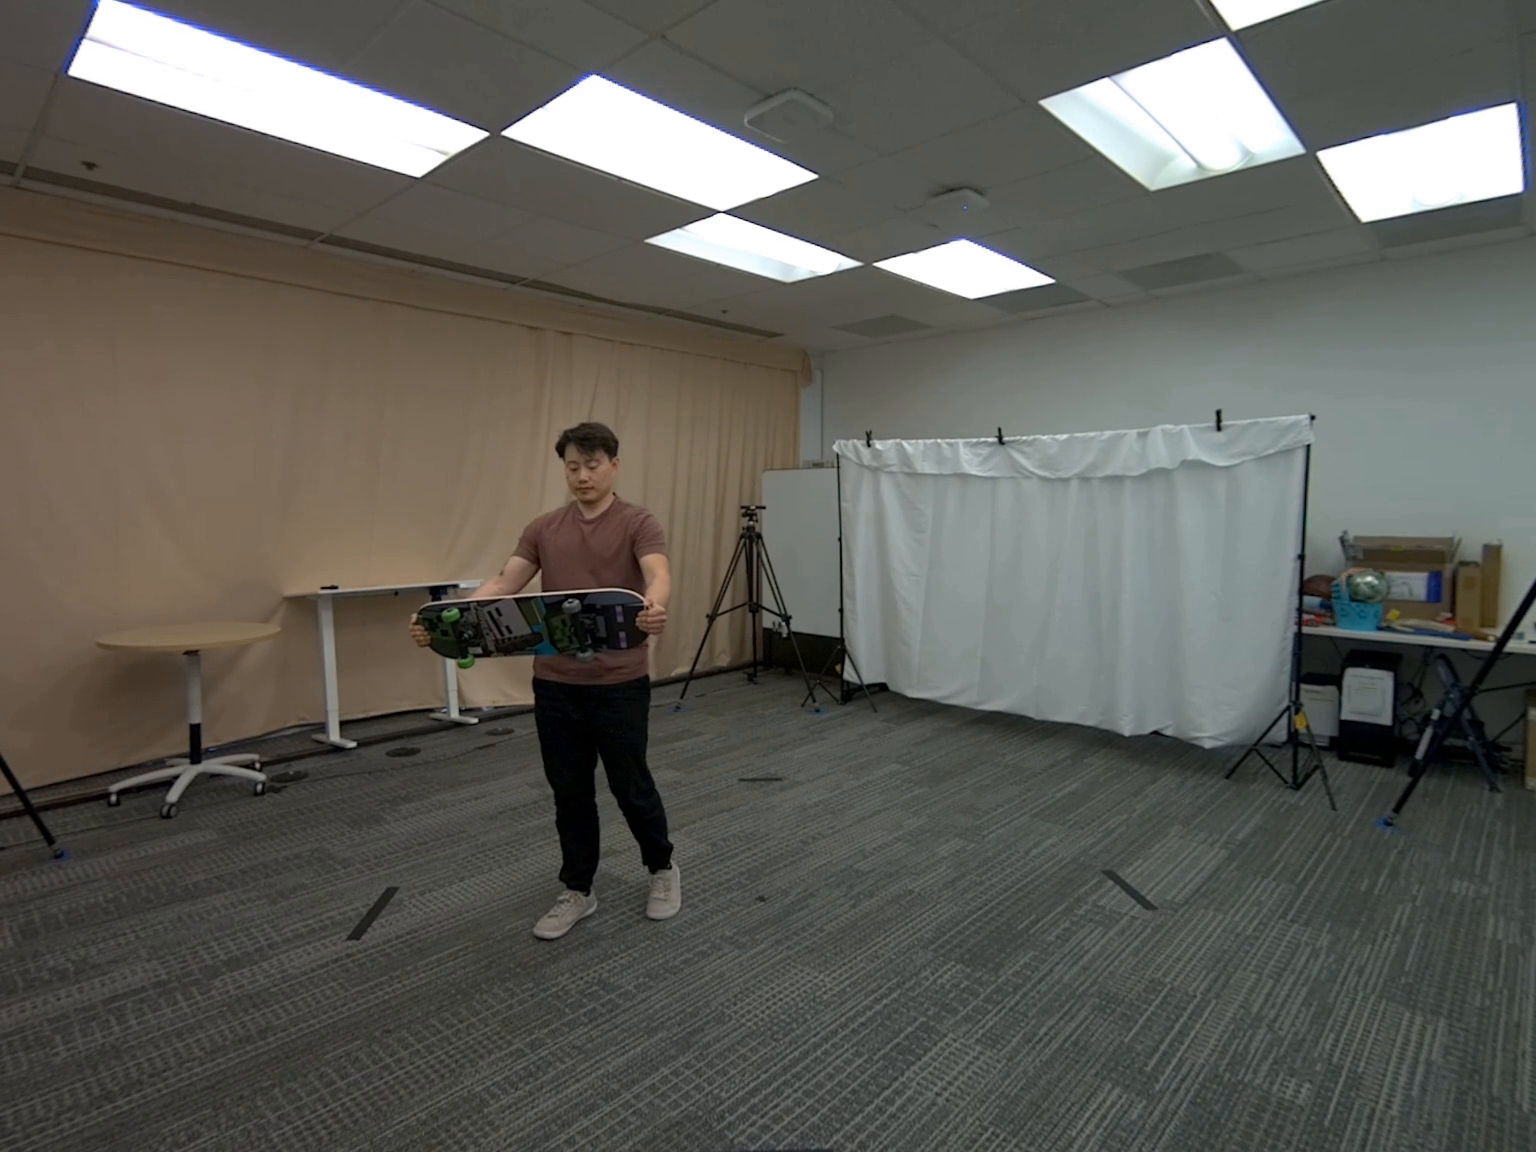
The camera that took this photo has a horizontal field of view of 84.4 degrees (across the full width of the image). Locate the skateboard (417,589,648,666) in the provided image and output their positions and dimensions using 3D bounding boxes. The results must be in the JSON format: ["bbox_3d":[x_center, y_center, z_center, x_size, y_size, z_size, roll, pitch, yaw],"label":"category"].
[{"bbox_3d":[-0.693,0.159,2.432,0.800,0.190,0.110,-4,22,19],"label":"skateboard"}]
